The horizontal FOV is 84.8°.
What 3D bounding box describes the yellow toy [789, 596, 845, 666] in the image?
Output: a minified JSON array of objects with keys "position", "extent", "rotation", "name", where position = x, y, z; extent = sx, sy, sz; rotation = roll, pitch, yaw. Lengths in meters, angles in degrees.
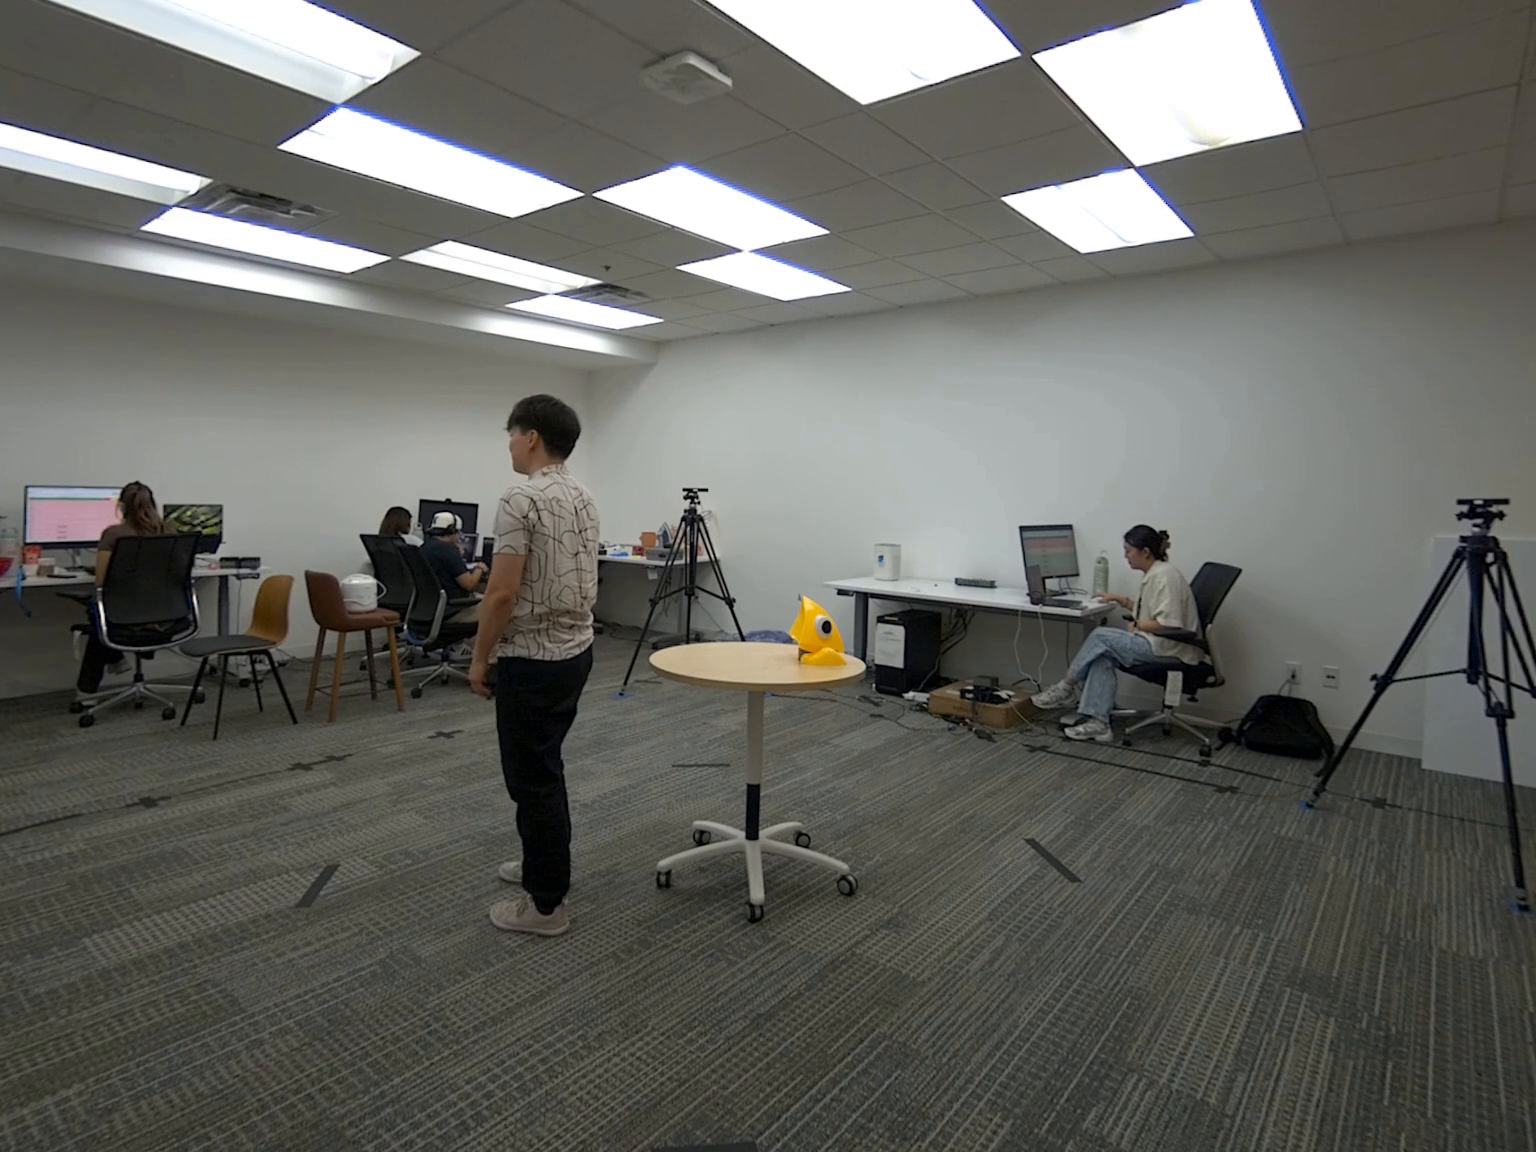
[{"position":[0.174,0.186,3.055],"extent":[0.192,0.230,0.207],"rotation":[1,3,-7],"name":"yellow toy"}]
